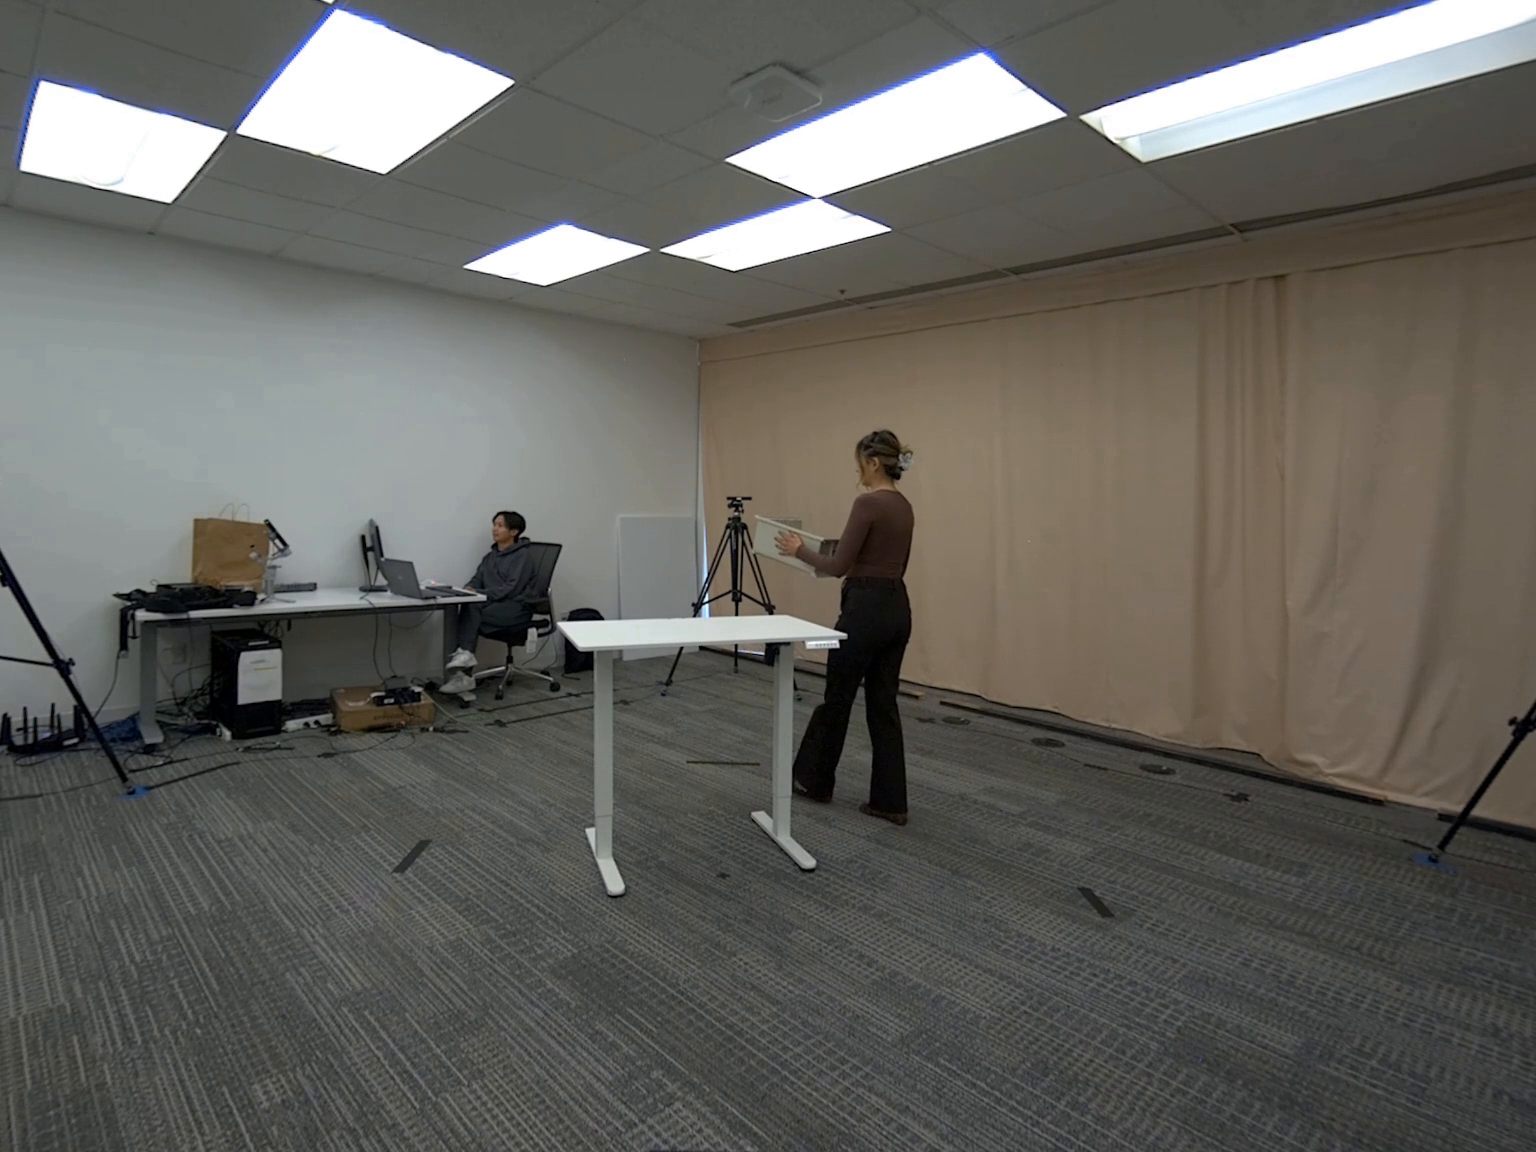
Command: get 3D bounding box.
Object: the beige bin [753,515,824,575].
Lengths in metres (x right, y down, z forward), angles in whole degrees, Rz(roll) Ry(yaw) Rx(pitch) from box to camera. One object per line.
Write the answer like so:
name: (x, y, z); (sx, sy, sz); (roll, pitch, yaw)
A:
beige bin: (0.186, -0.145, 3.994); (0.435, 0.188, 0.368); (22, 17, 41)
